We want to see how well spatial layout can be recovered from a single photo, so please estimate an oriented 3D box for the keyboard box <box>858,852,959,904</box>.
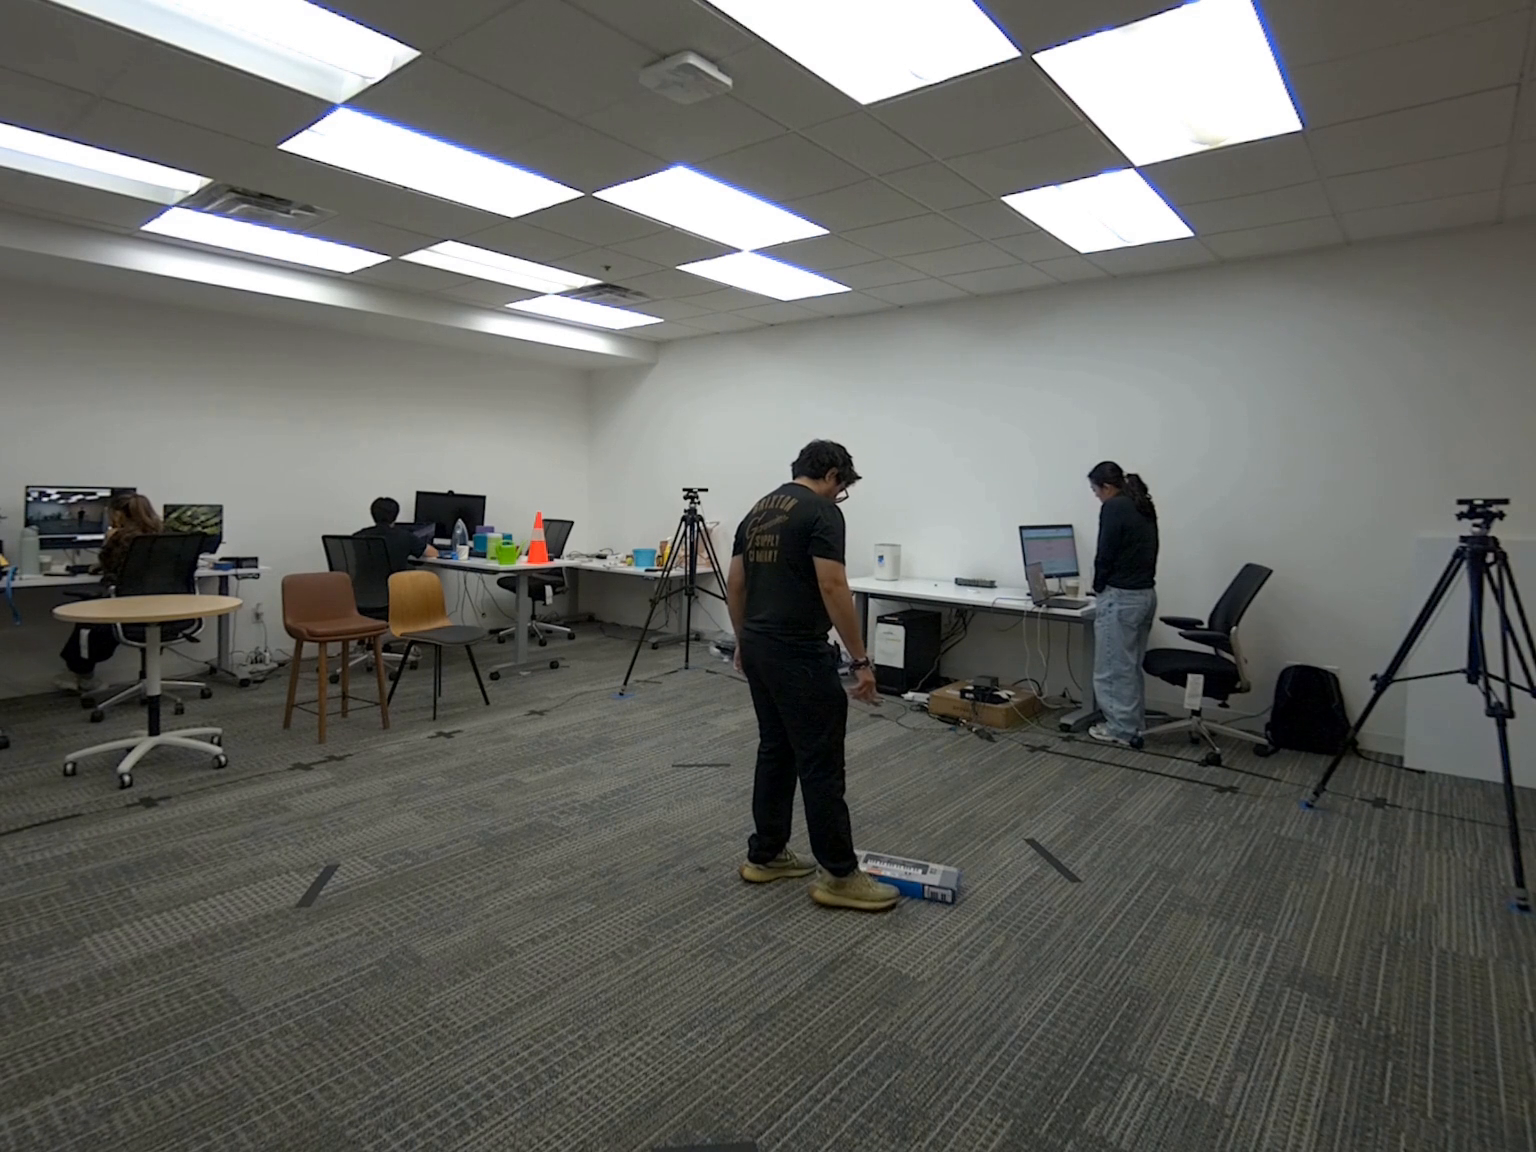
[{"bbox_3d":[0.444,1.065,3.034,0.447,0.059,0.173,4,6,21],"label":"keyboard box"}]
